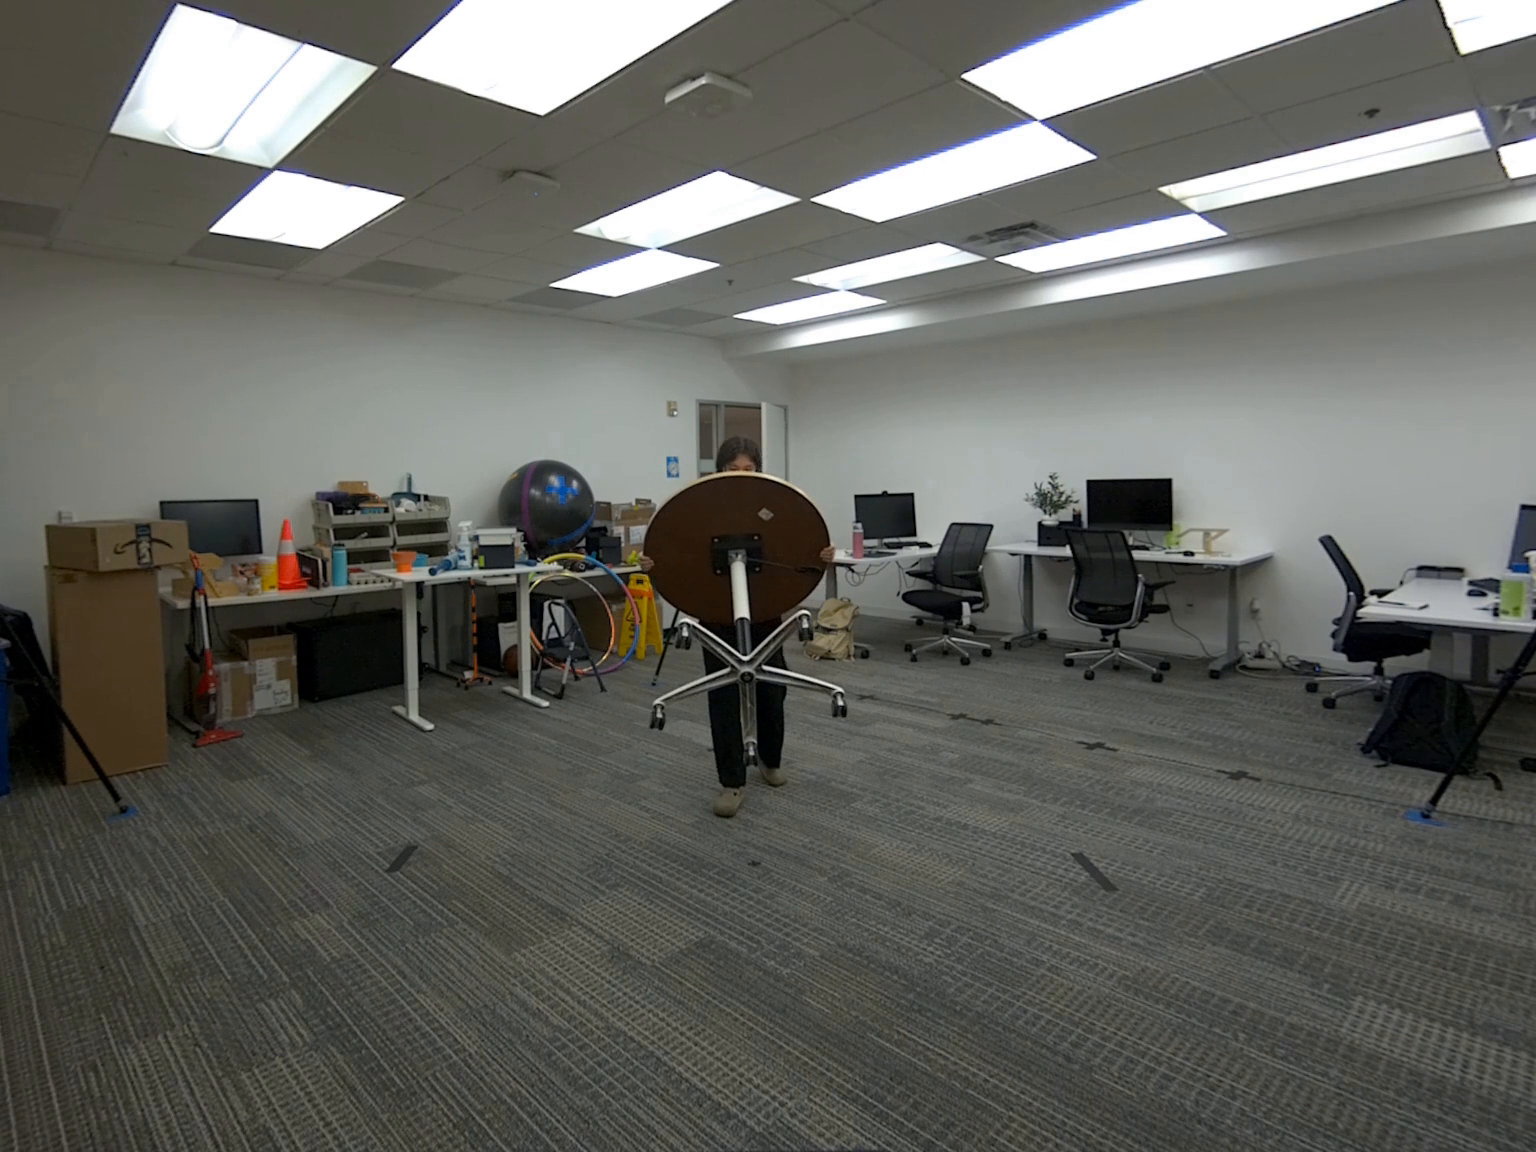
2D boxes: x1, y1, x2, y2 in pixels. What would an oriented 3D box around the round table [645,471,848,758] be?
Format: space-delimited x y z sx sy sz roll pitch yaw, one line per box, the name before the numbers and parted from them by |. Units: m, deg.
round table | -0.096 0.161 3.179 0.763 0.744 0.816 -1 37 -2
